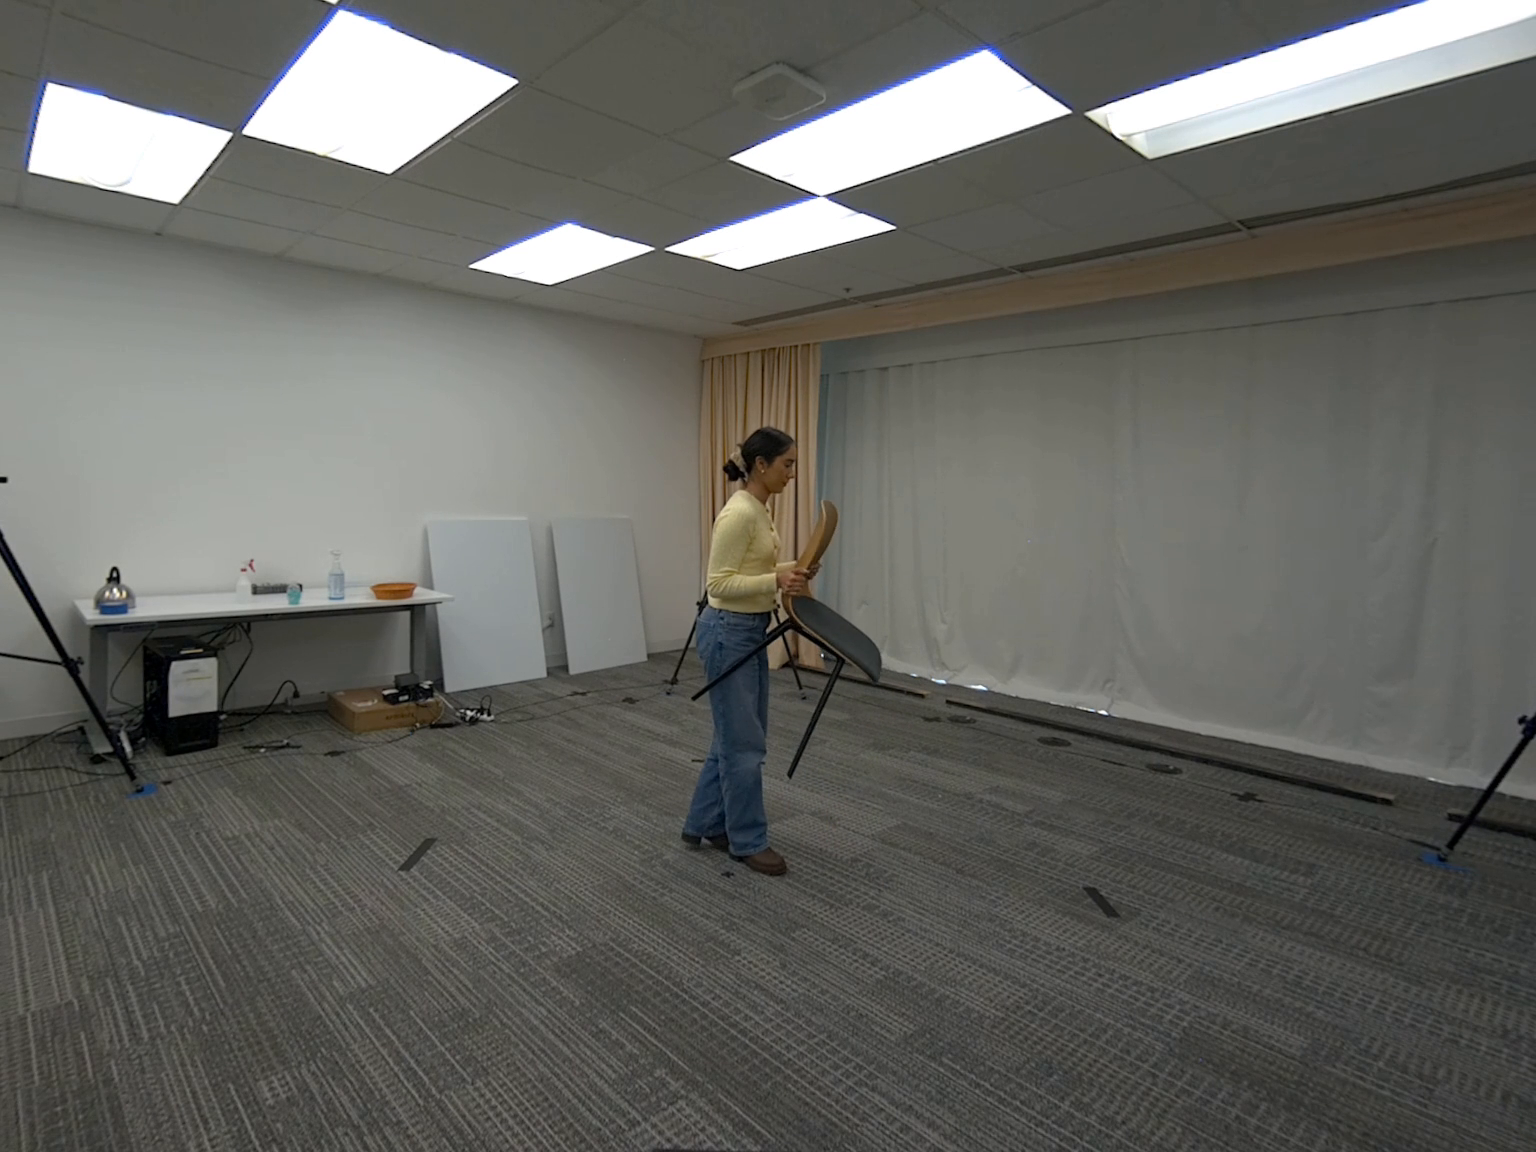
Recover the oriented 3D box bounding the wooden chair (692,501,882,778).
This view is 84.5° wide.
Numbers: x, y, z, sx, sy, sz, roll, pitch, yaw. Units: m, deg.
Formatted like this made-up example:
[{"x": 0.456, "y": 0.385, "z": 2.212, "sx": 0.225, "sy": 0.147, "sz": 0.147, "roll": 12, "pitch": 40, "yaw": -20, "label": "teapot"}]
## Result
[{"x": 0.185, "y": 0.227, "z": 3.129, "sx": 0.528, "sy": 0.875, "sz": 0.475, "roll": 33, "pitch": 10, "yaw": 8, "label": "wooden chair"}]
